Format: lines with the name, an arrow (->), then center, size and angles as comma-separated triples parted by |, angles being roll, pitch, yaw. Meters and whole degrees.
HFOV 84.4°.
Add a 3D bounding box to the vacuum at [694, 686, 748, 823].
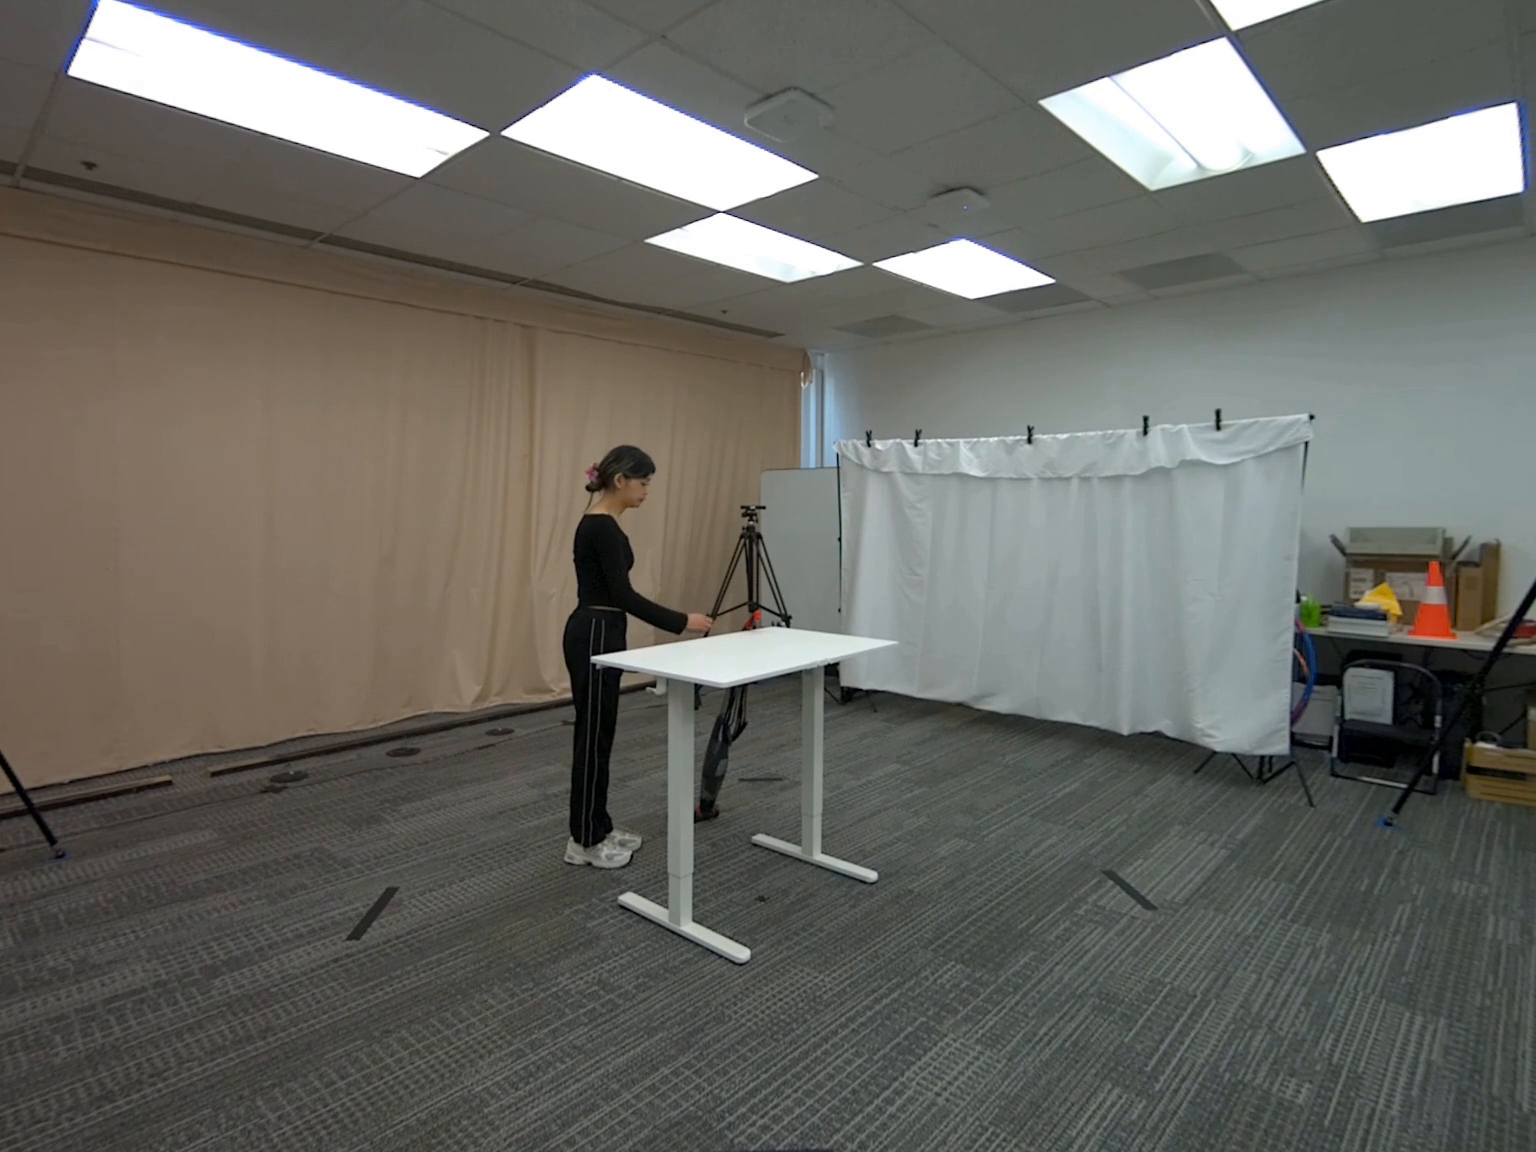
vacuum -> -0.170, 0.618, 3.594 | 0.245, 1.043, 0.149 | 1, 28, -38
